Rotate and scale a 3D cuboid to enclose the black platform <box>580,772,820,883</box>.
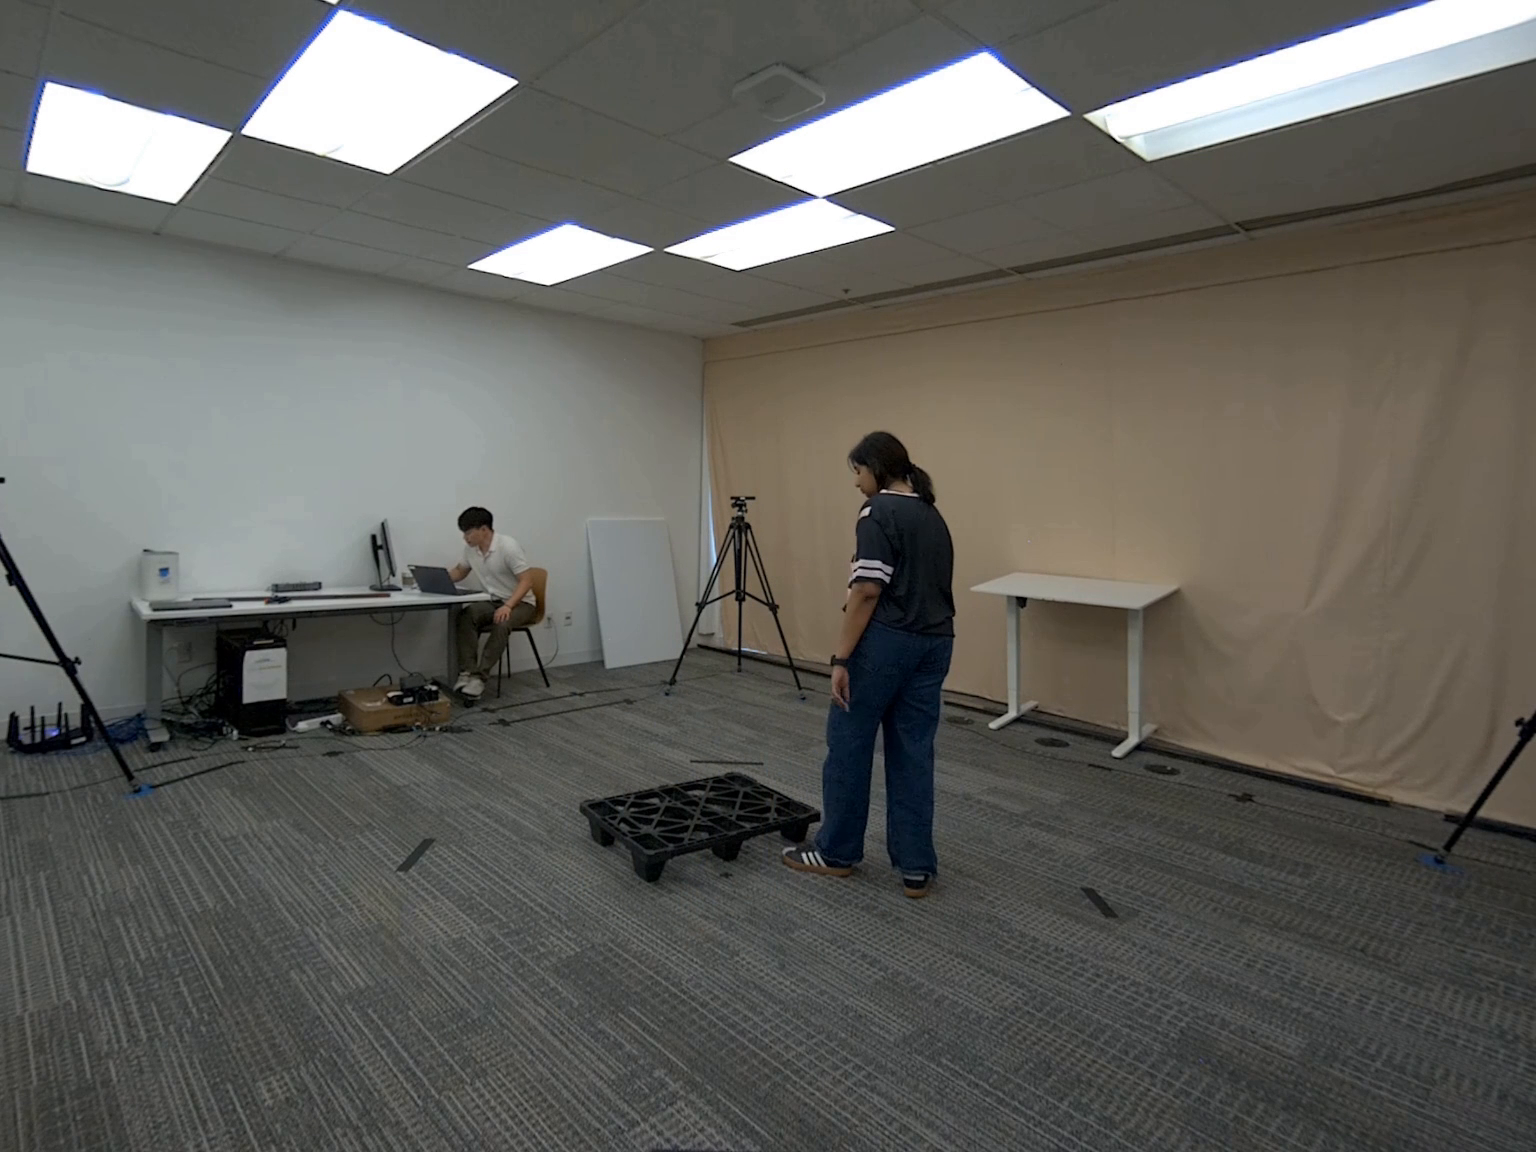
[{"bbox_3d":[-0.291,1.008,3.424,0.788,0.143,0.620,-2,5,-35],"label":"black platform"}]
